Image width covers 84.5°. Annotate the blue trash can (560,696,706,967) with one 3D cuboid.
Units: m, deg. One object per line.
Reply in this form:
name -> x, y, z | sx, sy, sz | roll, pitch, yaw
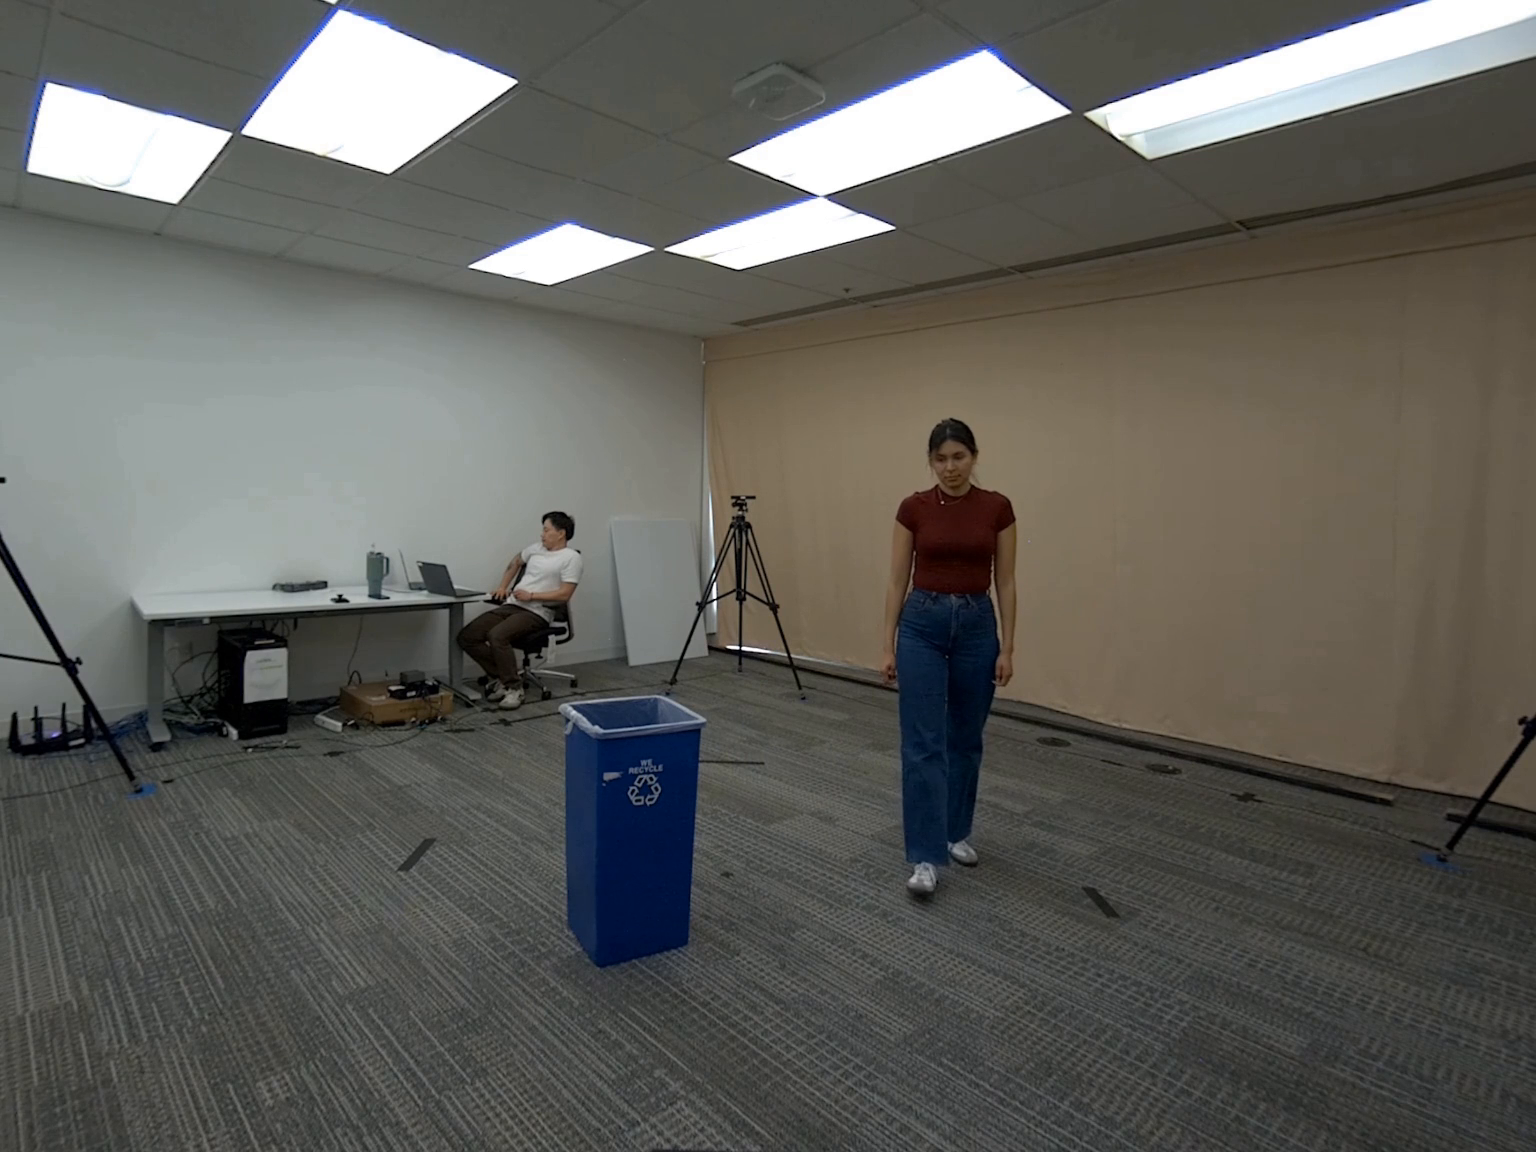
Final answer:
blue trash can -> -0.442, 0.780, 2.653 | 0.366, 0.712, 0.387 | -1, 4, -31
